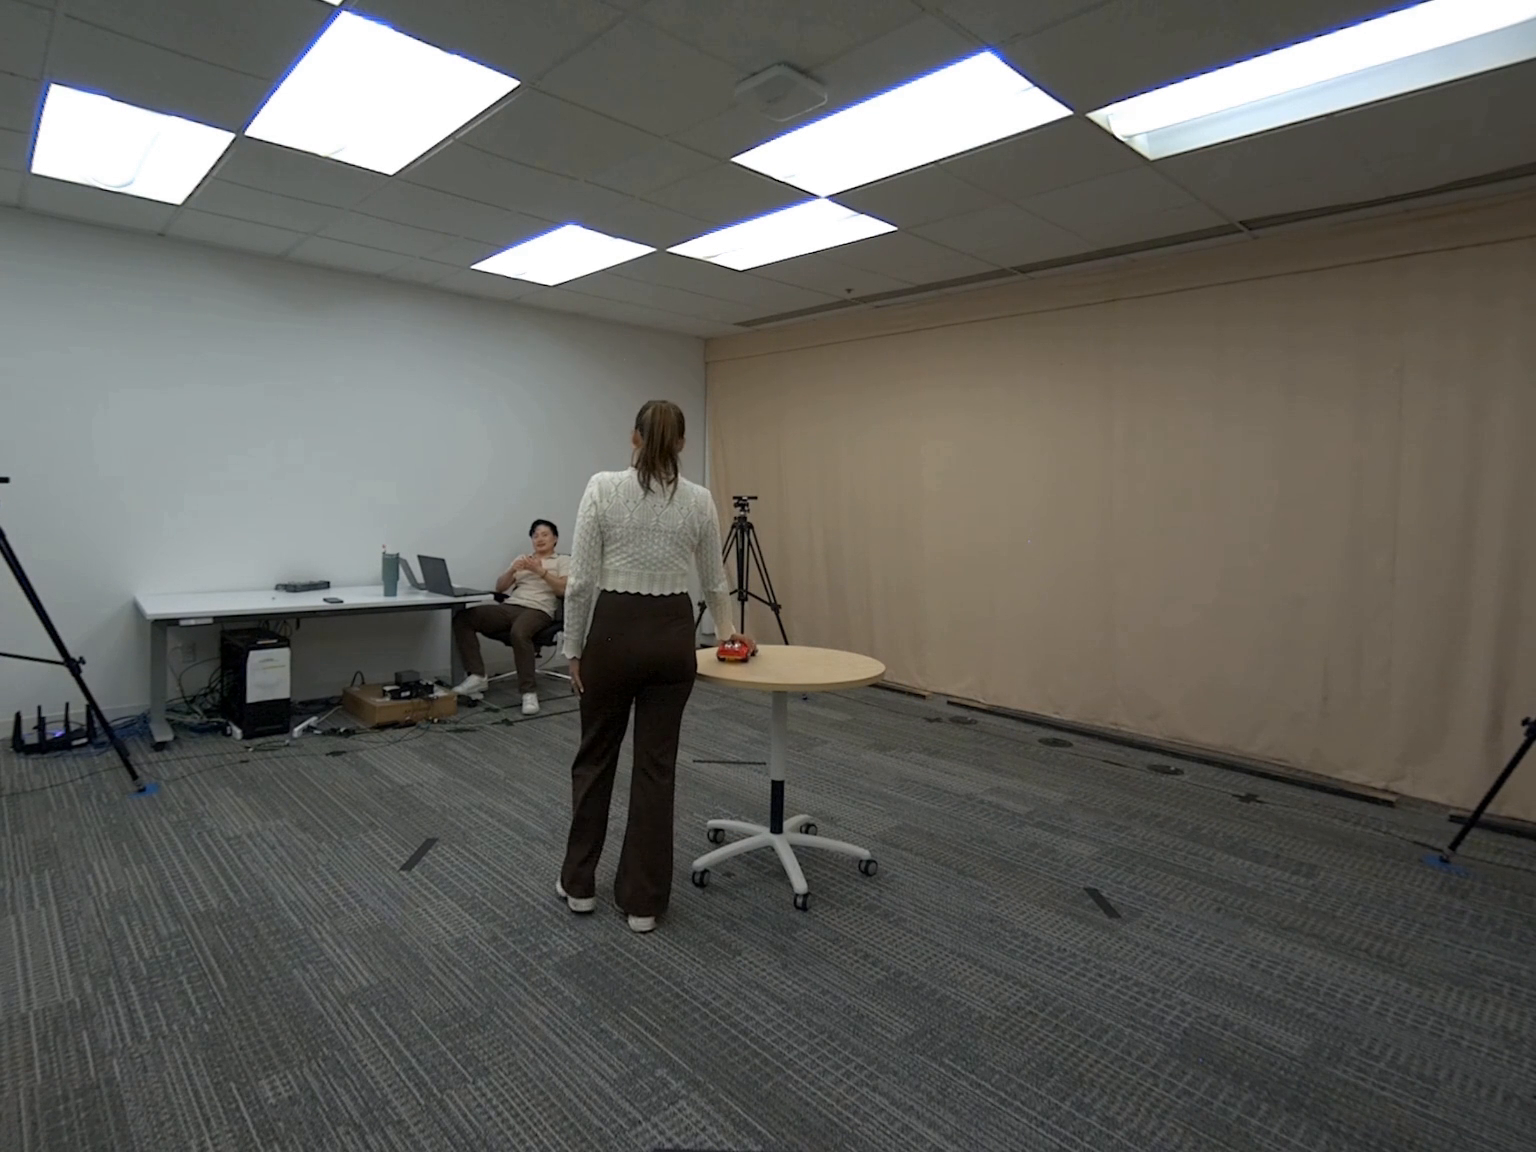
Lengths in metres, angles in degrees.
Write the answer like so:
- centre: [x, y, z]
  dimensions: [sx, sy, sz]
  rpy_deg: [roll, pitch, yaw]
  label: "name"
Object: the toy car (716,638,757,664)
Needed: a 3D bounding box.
- centre: [-0.124, 0.281, 3.156]
  dimensions: [0.131, 0.084, 0.251]
  rpy_deg: [2, -7, 10]
  label: "toy car"
